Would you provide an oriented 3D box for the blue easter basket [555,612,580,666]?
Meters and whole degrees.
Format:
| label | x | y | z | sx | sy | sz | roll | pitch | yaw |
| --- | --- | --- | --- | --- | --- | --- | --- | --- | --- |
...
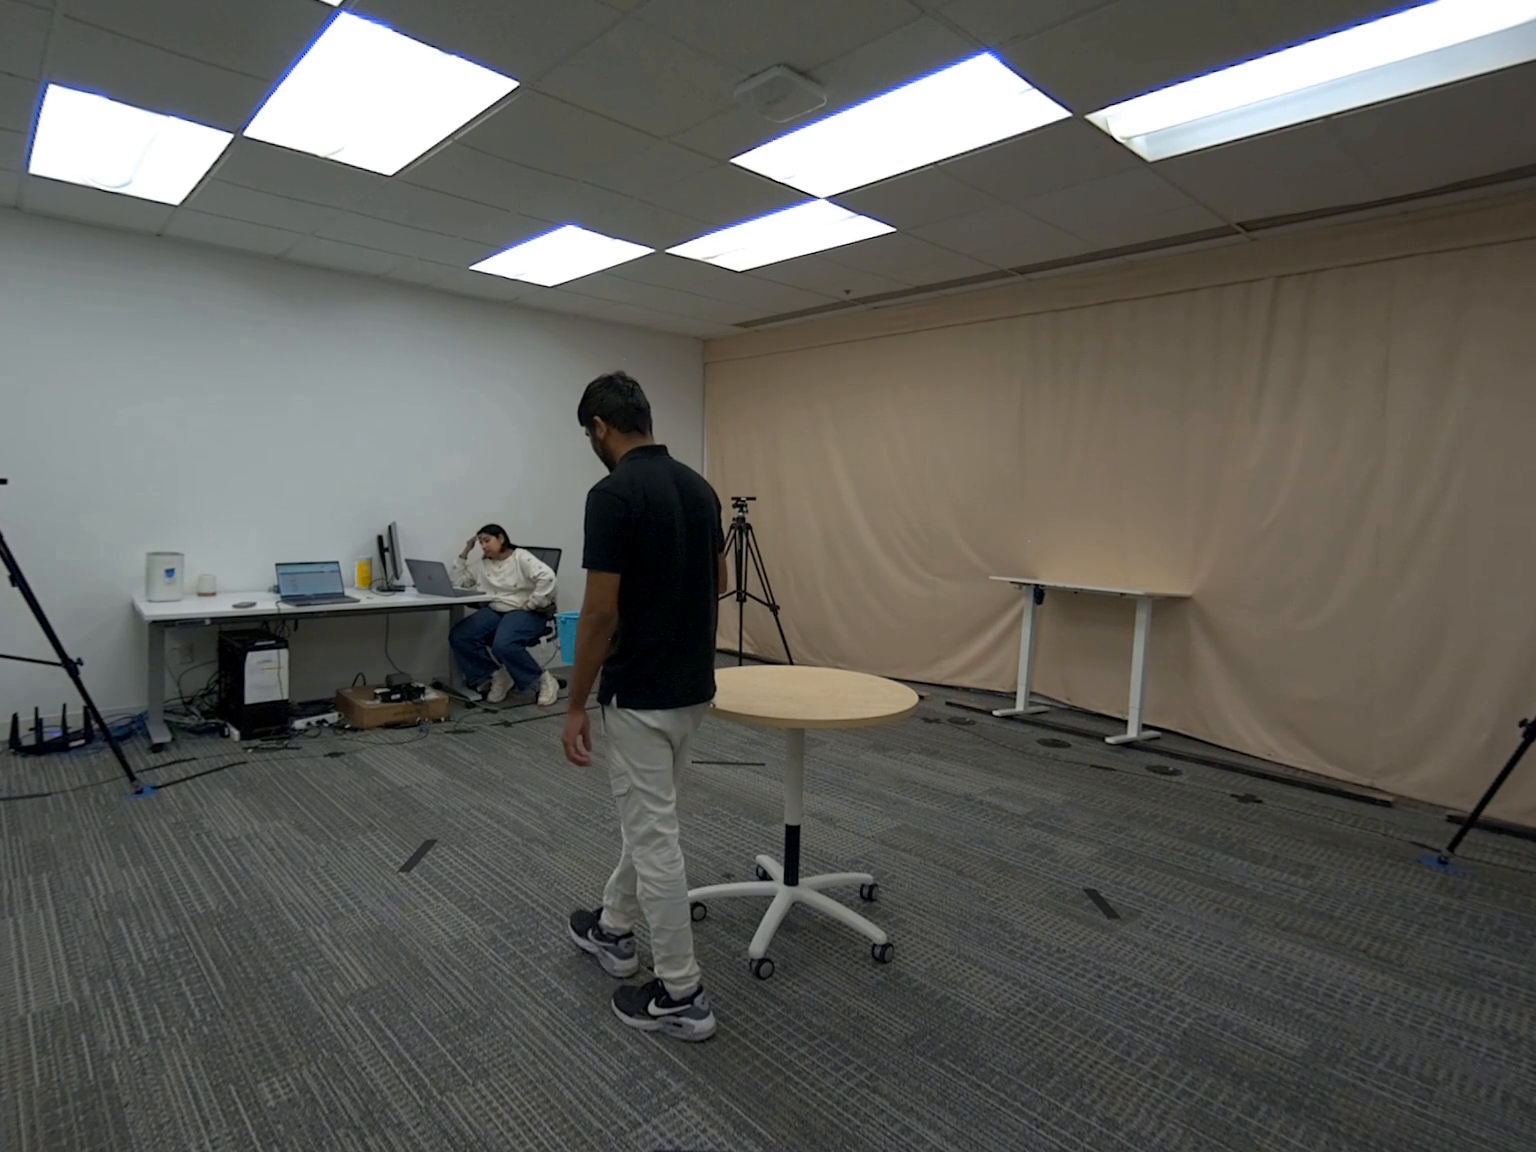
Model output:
| label | x | y | z | sx | sy | sz | roll | pitch | yaw |
| --- | --- | --- | --- | --- | --- | --- | --- | --- | --- |
| blue easter basket | -0.572 | 0.204 | 2.669 | 0.243 | 0.156 | 0.244 | 0 | 2 | -1 |
